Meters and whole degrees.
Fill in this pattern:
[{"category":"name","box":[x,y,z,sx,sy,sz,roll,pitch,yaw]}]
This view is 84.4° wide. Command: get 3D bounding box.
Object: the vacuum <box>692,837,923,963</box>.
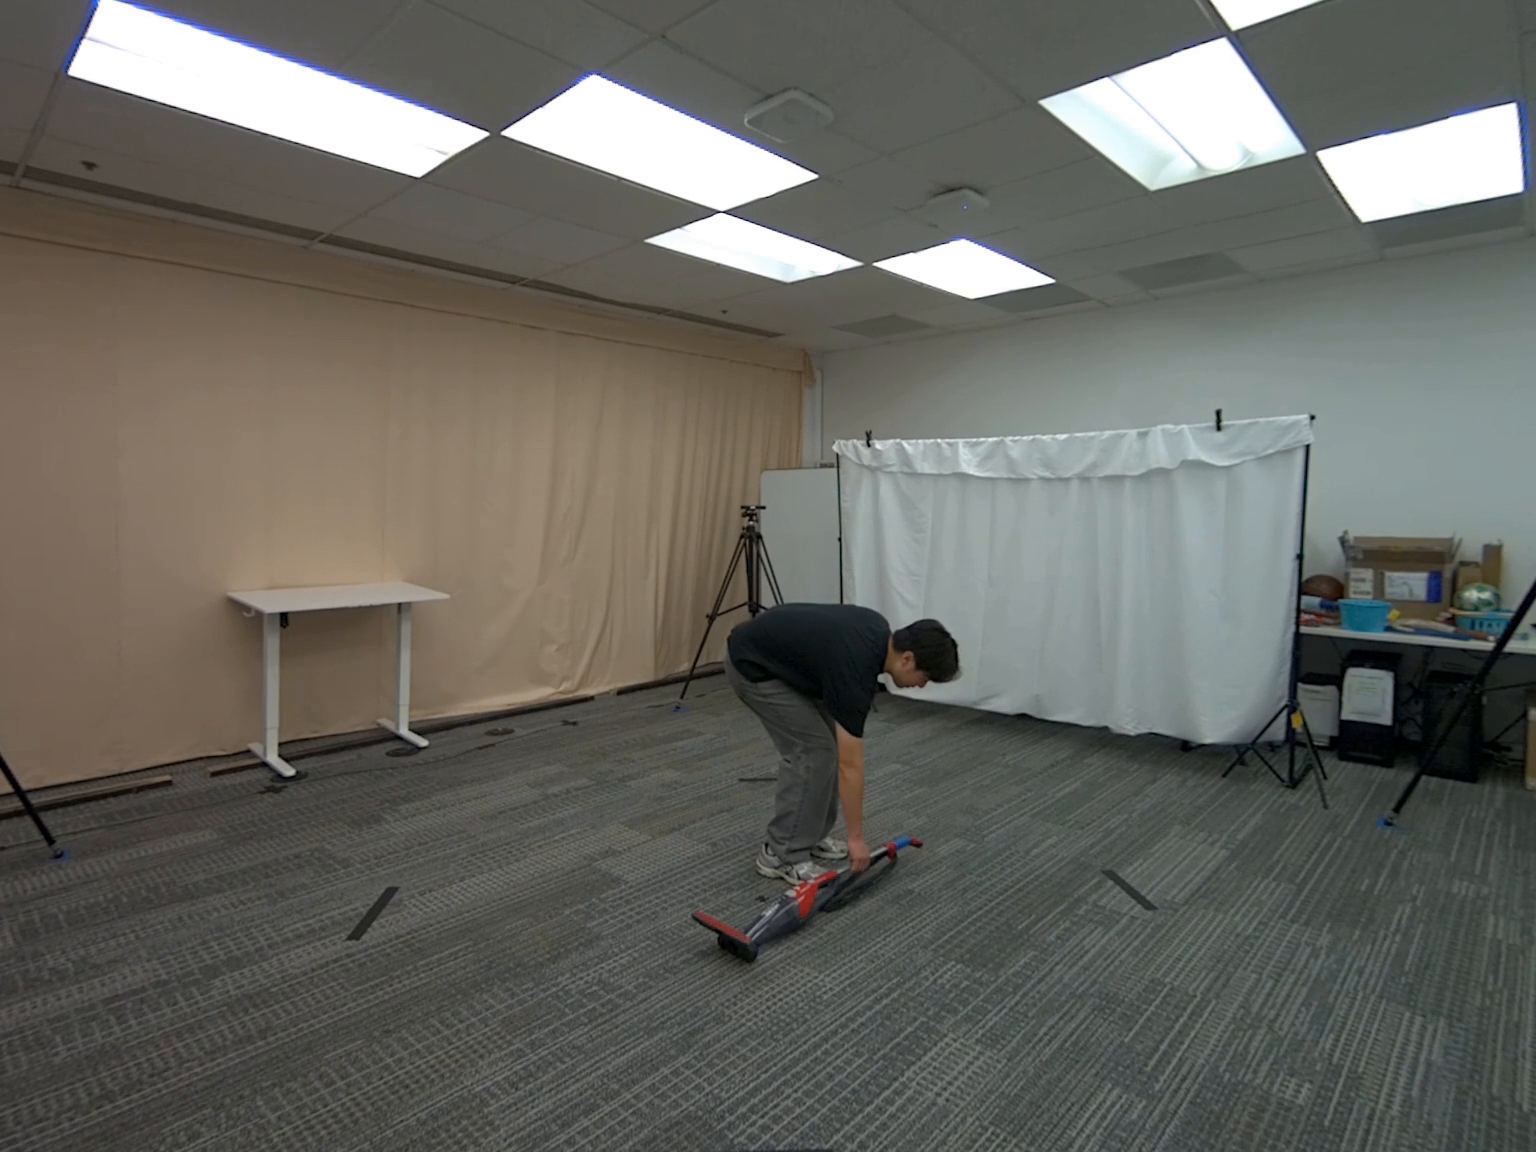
[{"category":"vacuum","box":[0.232,1.090,2.932,1.018,0.143,0.261,-5,6,-43]}]
